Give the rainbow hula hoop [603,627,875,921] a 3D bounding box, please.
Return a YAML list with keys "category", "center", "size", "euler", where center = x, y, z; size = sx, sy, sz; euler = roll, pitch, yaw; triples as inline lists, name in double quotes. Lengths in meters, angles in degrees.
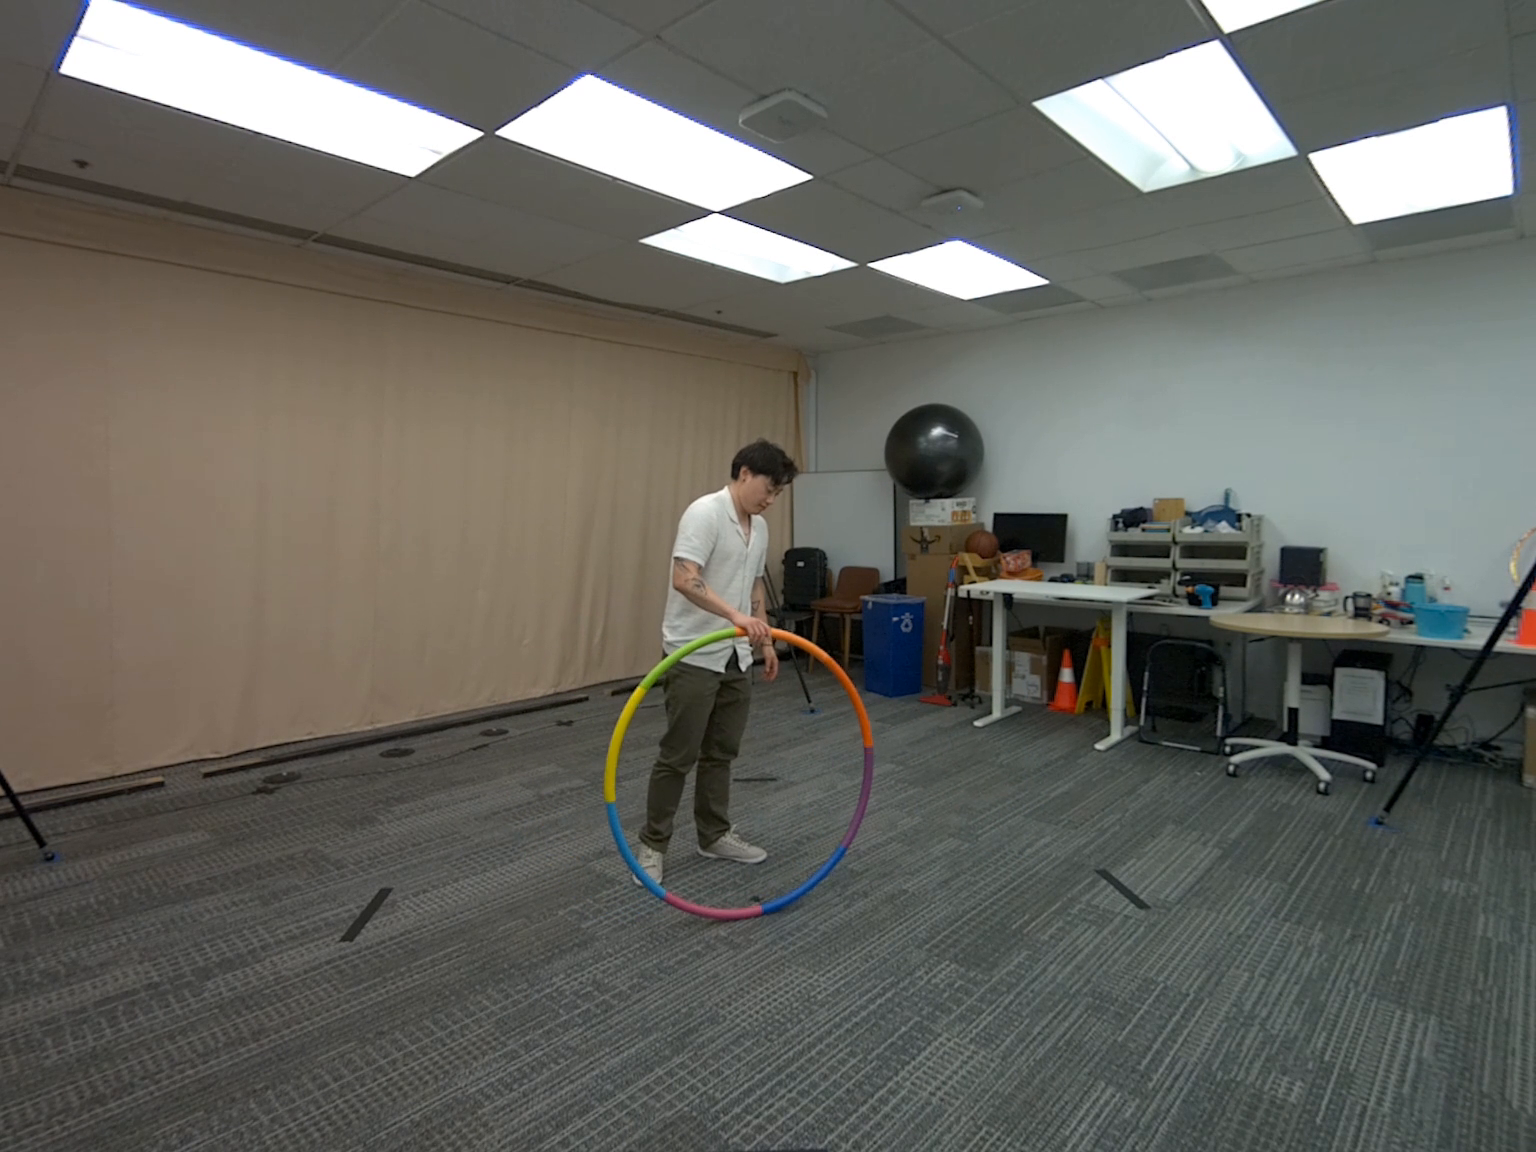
- category: "rainbow hula hoop"
  center: [-0.069, 0.667, 2.864]
  size: [0.957, 0.979, 0.036]
  euler: [-2, -1, -22]
